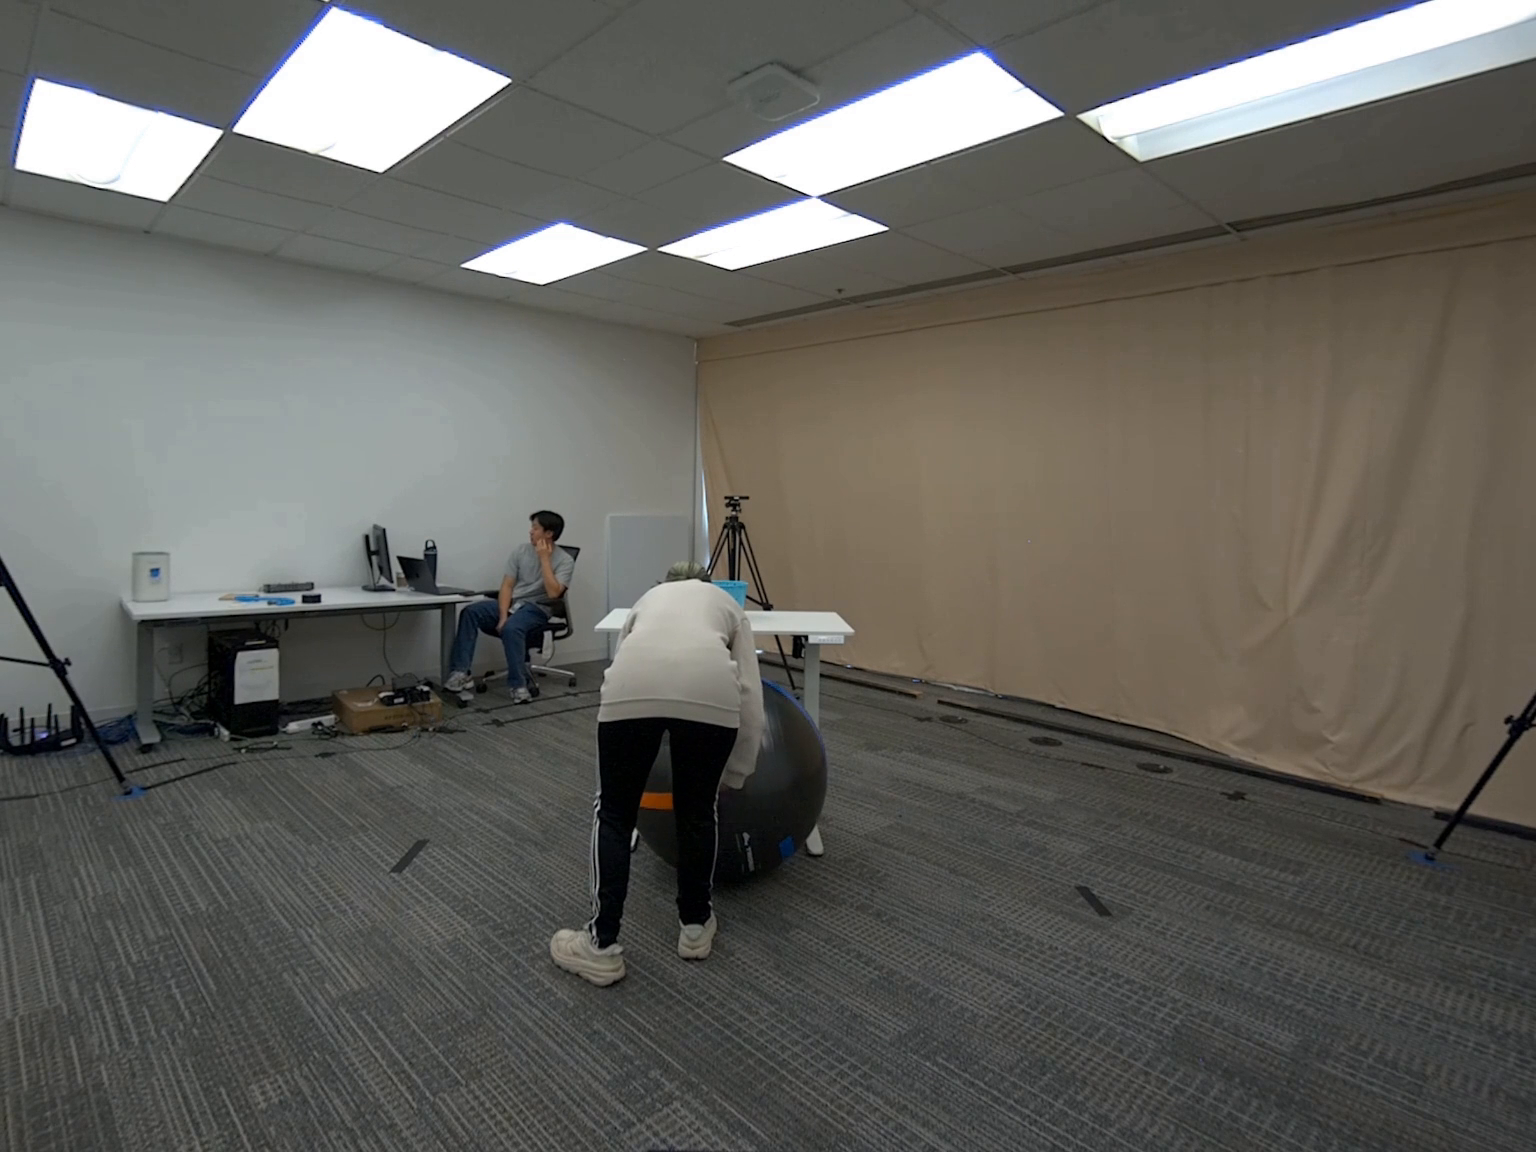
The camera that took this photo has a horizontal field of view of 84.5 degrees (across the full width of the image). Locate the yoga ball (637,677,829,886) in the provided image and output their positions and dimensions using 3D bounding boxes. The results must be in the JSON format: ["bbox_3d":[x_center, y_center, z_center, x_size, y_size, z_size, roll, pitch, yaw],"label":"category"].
[{"bbox_3d":[-0.169,0.731,3.124,0.757,0.756,0.761,1,4,-1],"label":"yoga ball"}]
